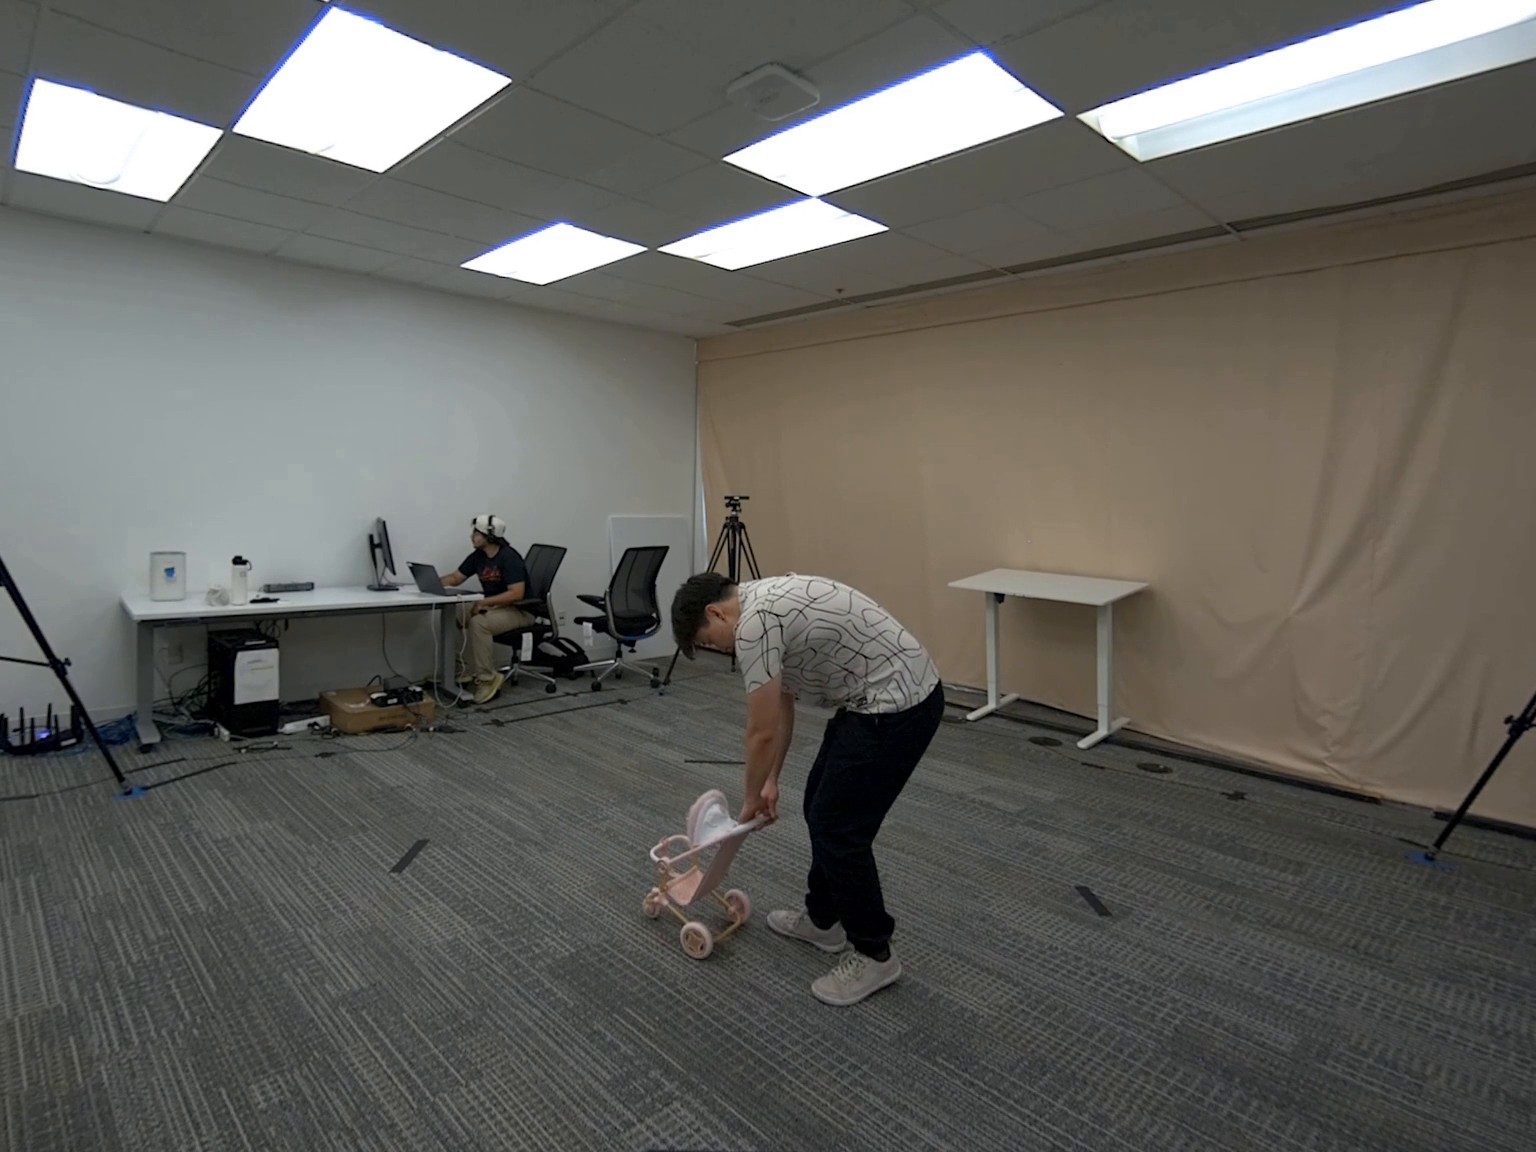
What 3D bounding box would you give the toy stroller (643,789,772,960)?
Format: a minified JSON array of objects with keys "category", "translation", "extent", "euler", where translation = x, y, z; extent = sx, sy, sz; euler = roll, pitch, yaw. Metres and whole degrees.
[{"category":"toy stroller","translation":[-0.216,0.916,2.666],"extent":[0.351,0.531,0.275],"euler":[23,14,31]}]
